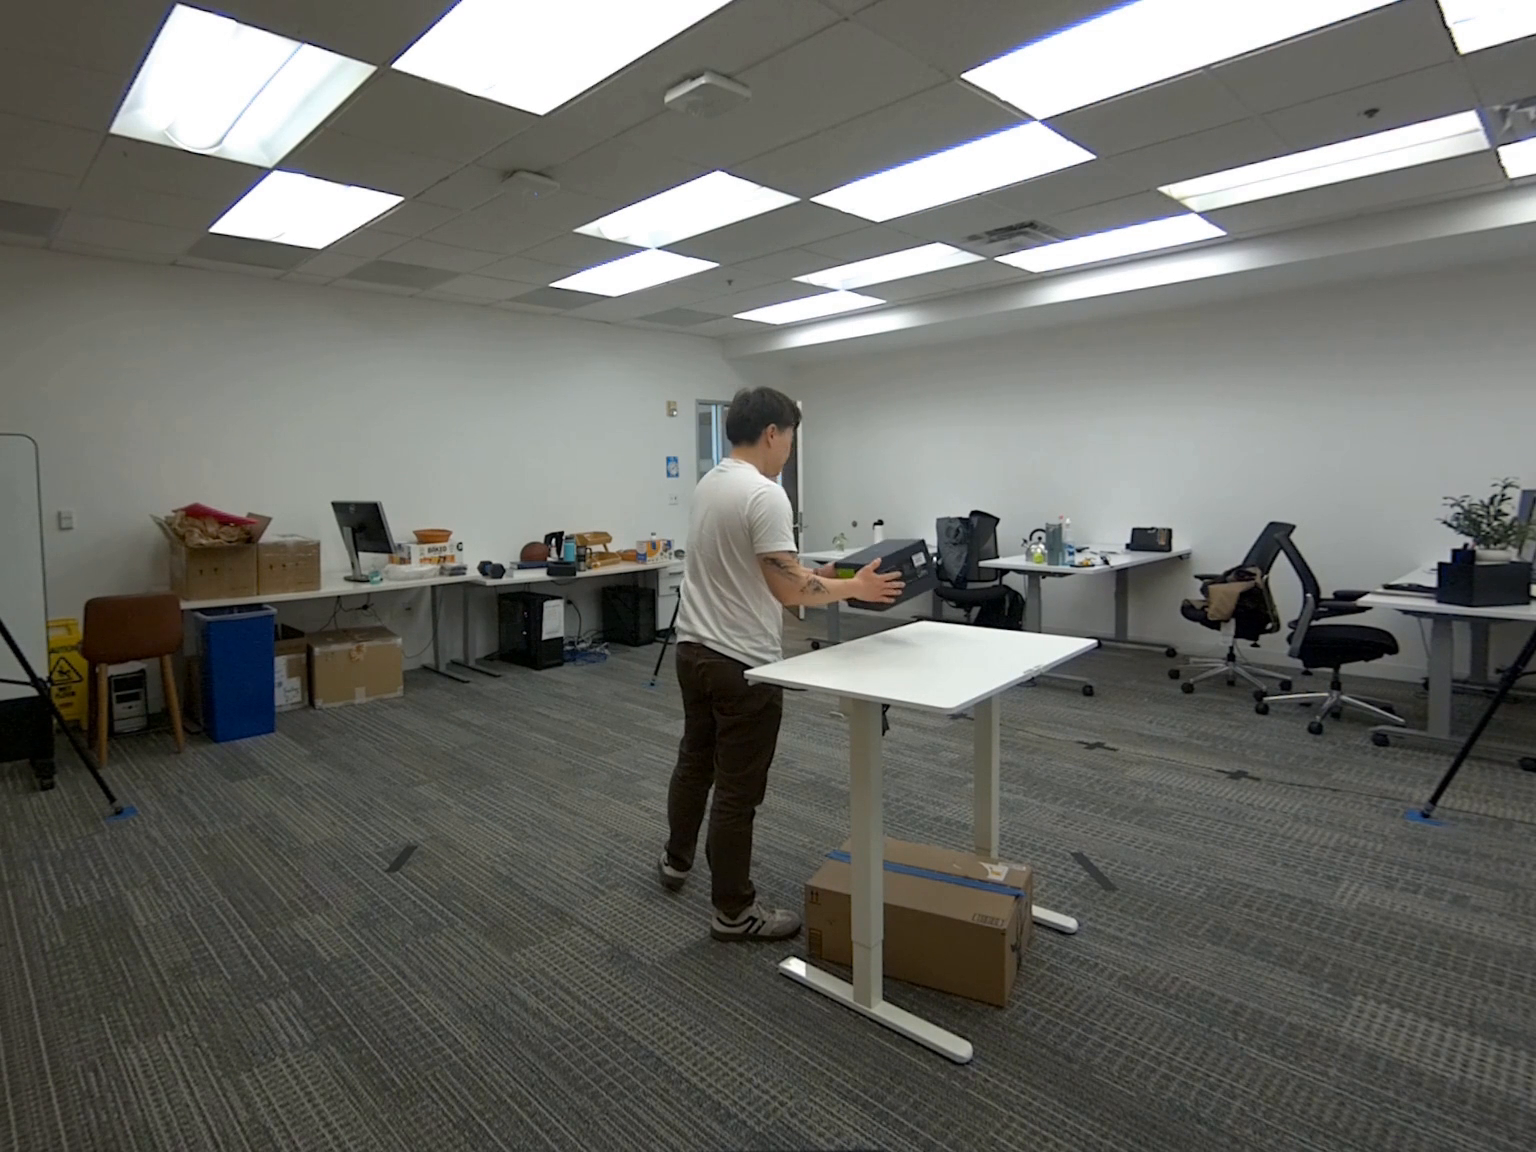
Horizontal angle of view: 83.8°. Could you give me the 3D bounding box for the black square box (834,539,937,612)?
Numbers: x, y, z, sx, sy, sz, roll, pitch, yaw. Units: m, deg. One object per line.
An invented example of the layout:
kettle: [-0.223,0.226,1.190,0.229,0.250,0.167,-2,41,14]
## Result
black square box: [0.361,0.003,2.700,0.215,0.155,0.232,-21,8,-17]
